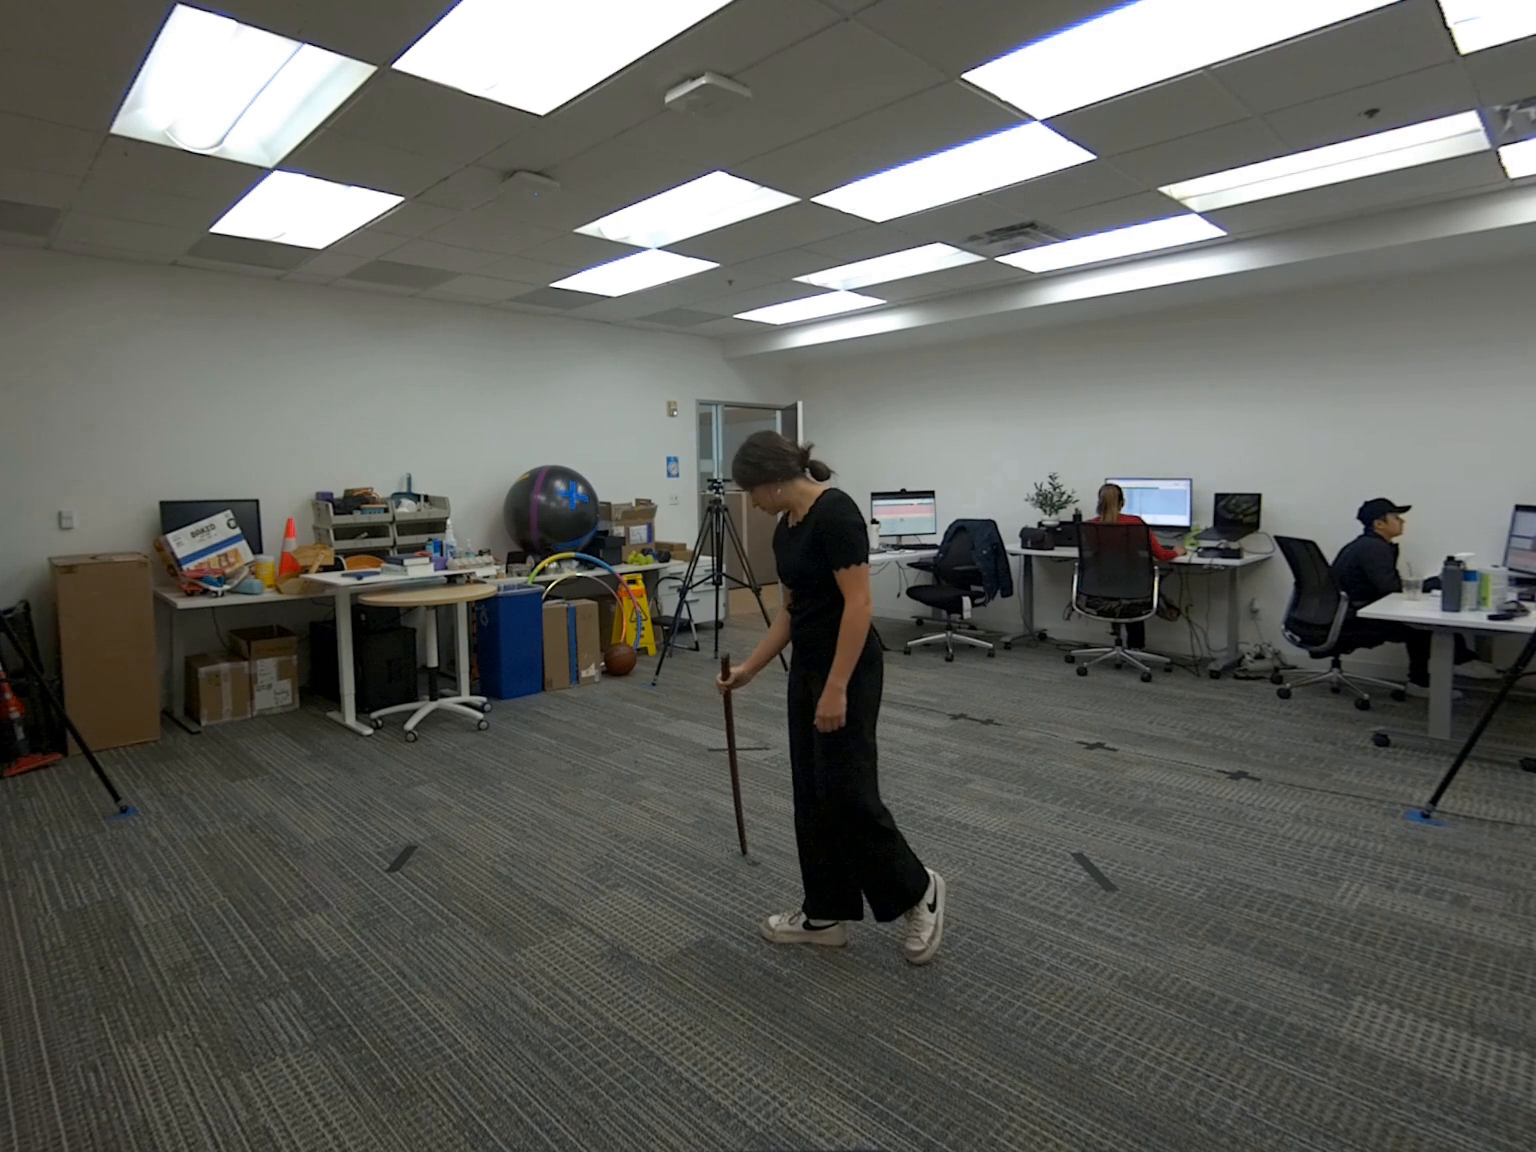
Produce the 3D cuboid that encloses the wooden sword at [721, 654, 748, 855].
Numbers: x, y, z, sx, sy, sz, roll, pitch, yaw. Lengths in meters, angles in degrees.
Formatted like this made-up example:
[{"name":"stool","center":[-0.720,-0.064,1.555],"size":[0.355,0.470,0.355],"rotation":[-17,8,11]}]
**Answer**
[{"name":"wooden sword","center":[-0.110,0.654,2.882],"size":[0.053,0.996,0.024],"rotation":[23,45,32]}]
